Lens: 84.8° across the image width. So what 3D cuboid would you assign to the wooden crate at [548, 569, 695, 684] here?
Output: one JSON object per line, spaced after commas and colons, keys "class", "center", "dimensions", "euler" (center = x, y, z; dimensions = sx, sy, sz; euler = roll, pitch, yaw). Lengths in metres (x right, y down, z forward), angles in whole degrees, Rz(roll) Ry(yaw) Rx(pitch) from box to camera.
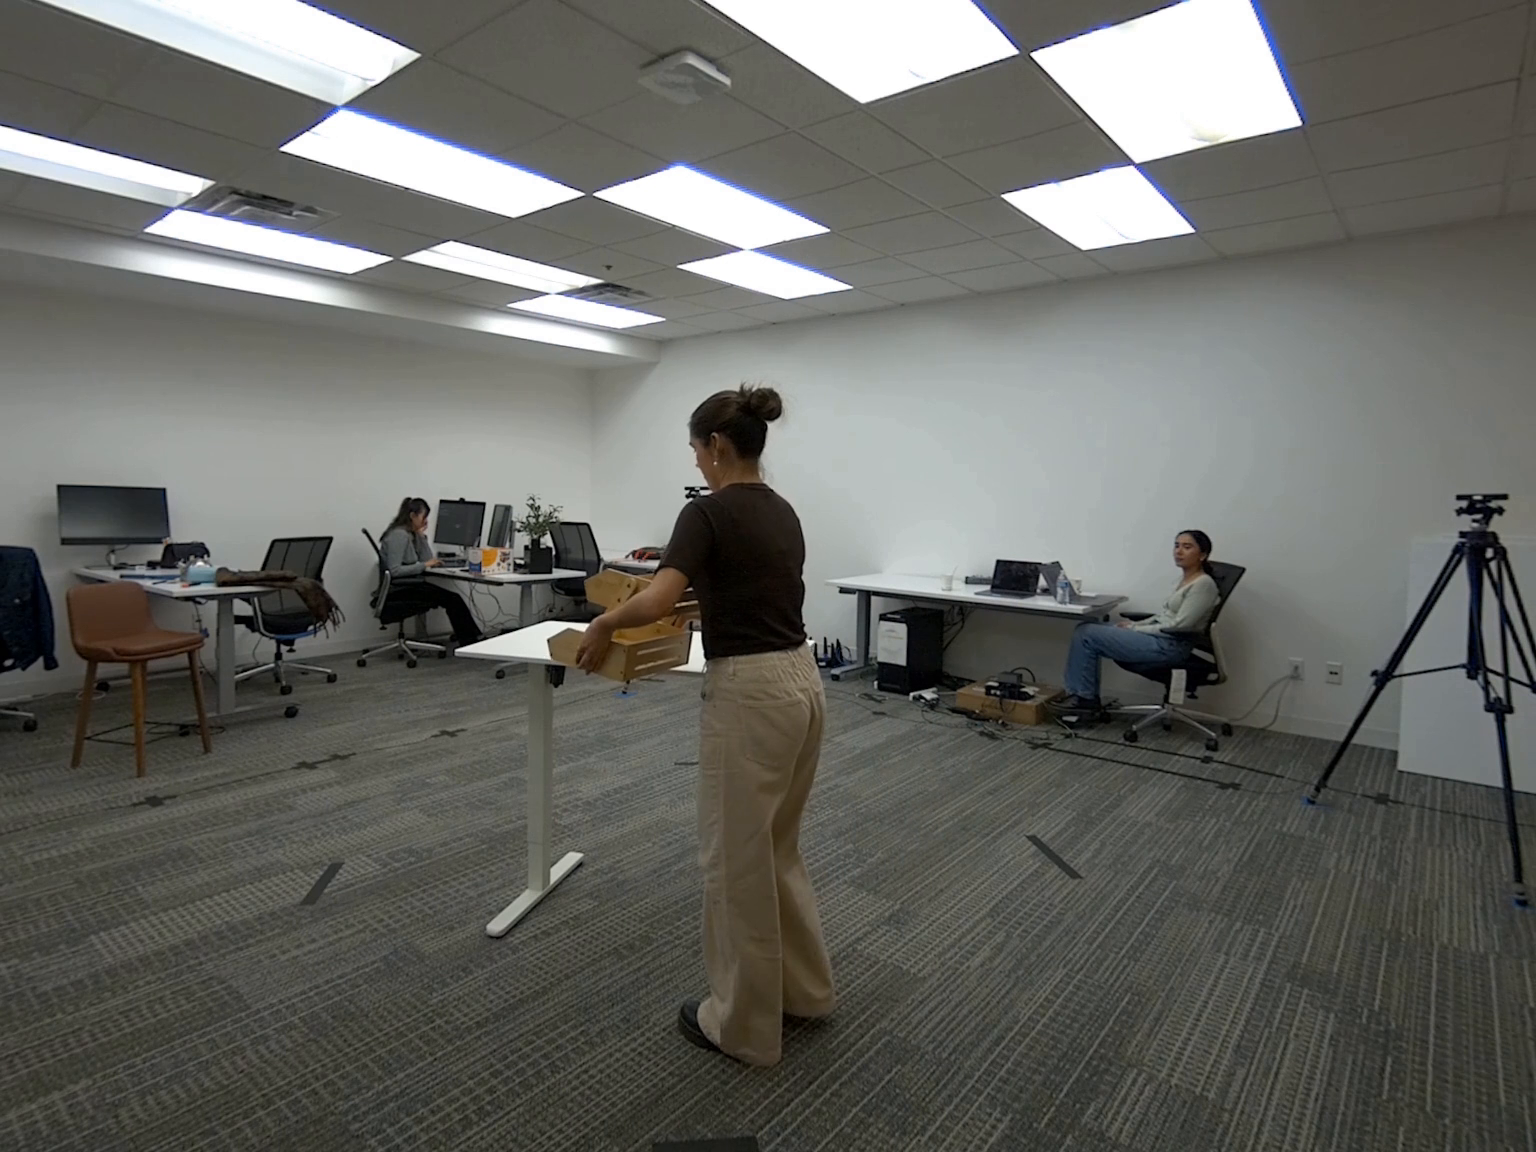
{"class": "wooden crate", "center": [-0.356, 0.095, 2.221], "dimensions": [0.312, 0.272, 0.316], "euler": [13, 8, 28]}
